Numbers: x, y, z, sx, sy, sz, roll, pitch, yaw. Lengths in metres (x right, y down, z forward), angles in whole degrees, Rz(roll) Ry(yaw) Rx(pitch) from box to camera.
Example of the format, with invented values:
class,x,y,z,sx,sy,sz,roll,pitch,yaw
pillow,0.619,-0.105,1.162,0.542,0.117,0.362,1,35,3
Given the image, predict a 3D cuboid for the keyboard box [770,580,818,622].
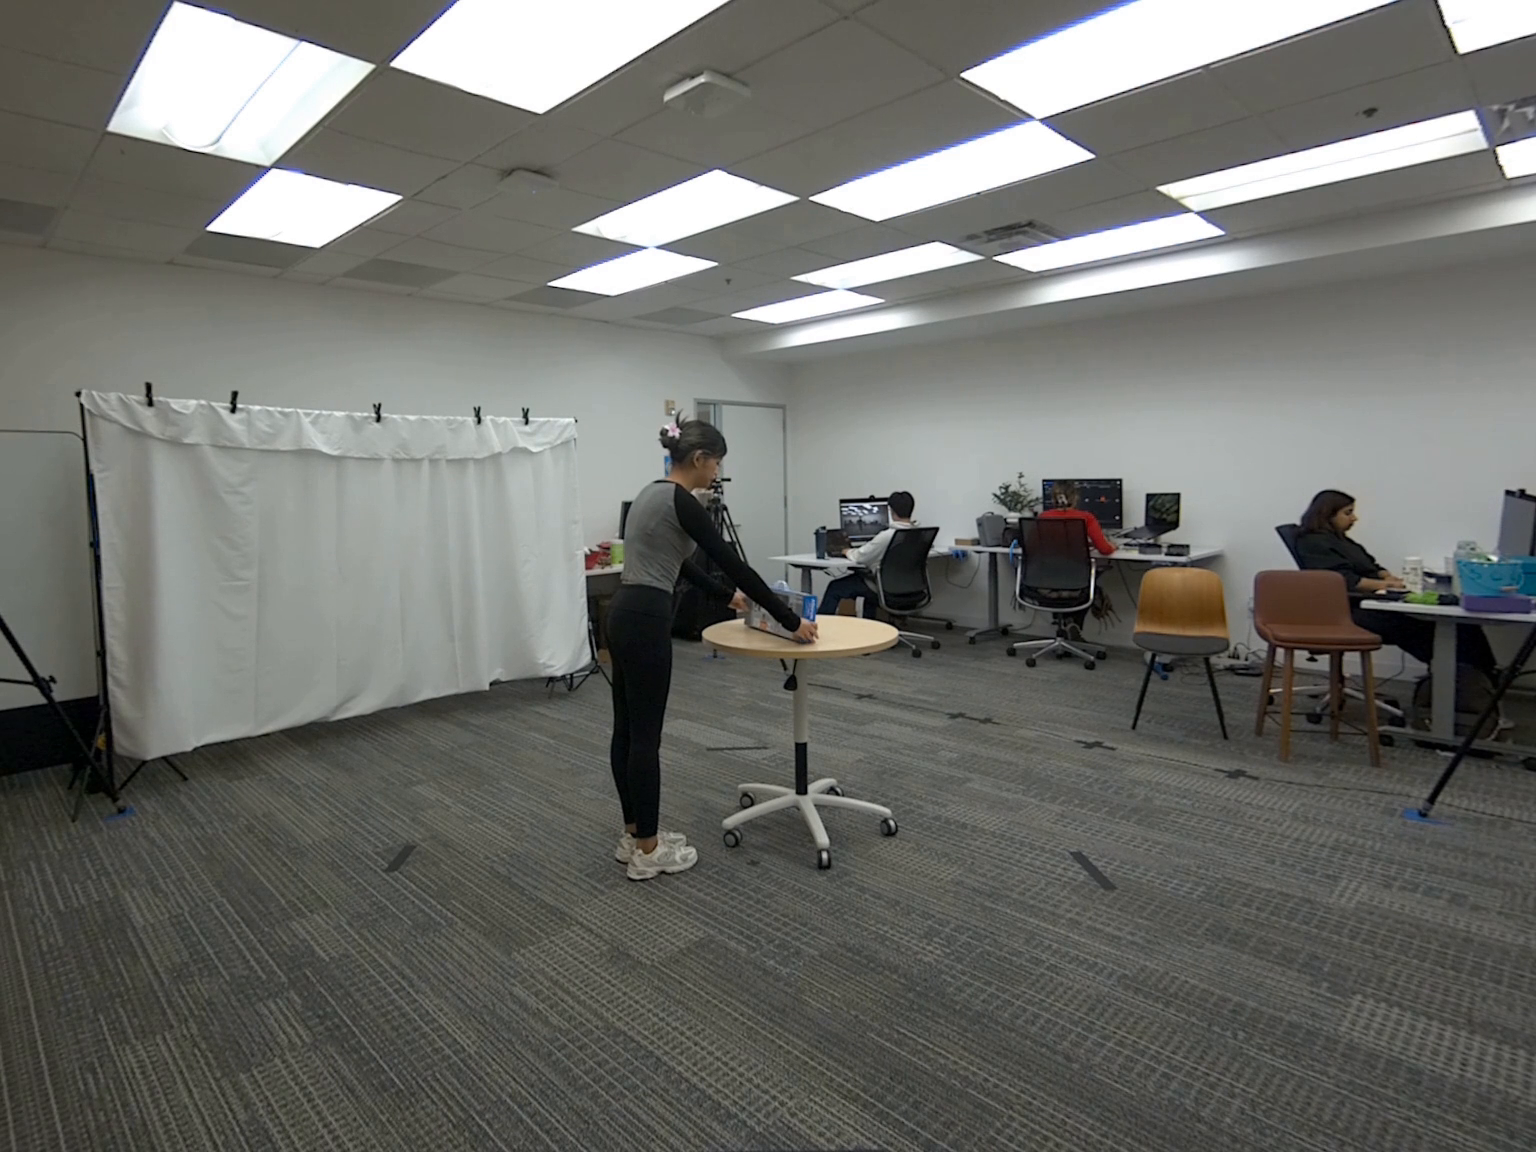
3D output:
class,x,y,z,sx,sy,sz,roll,pitch,yaw
keyboard box,0.039,0.138,3.306,0.057,0.175,0.449,1,4,-30
